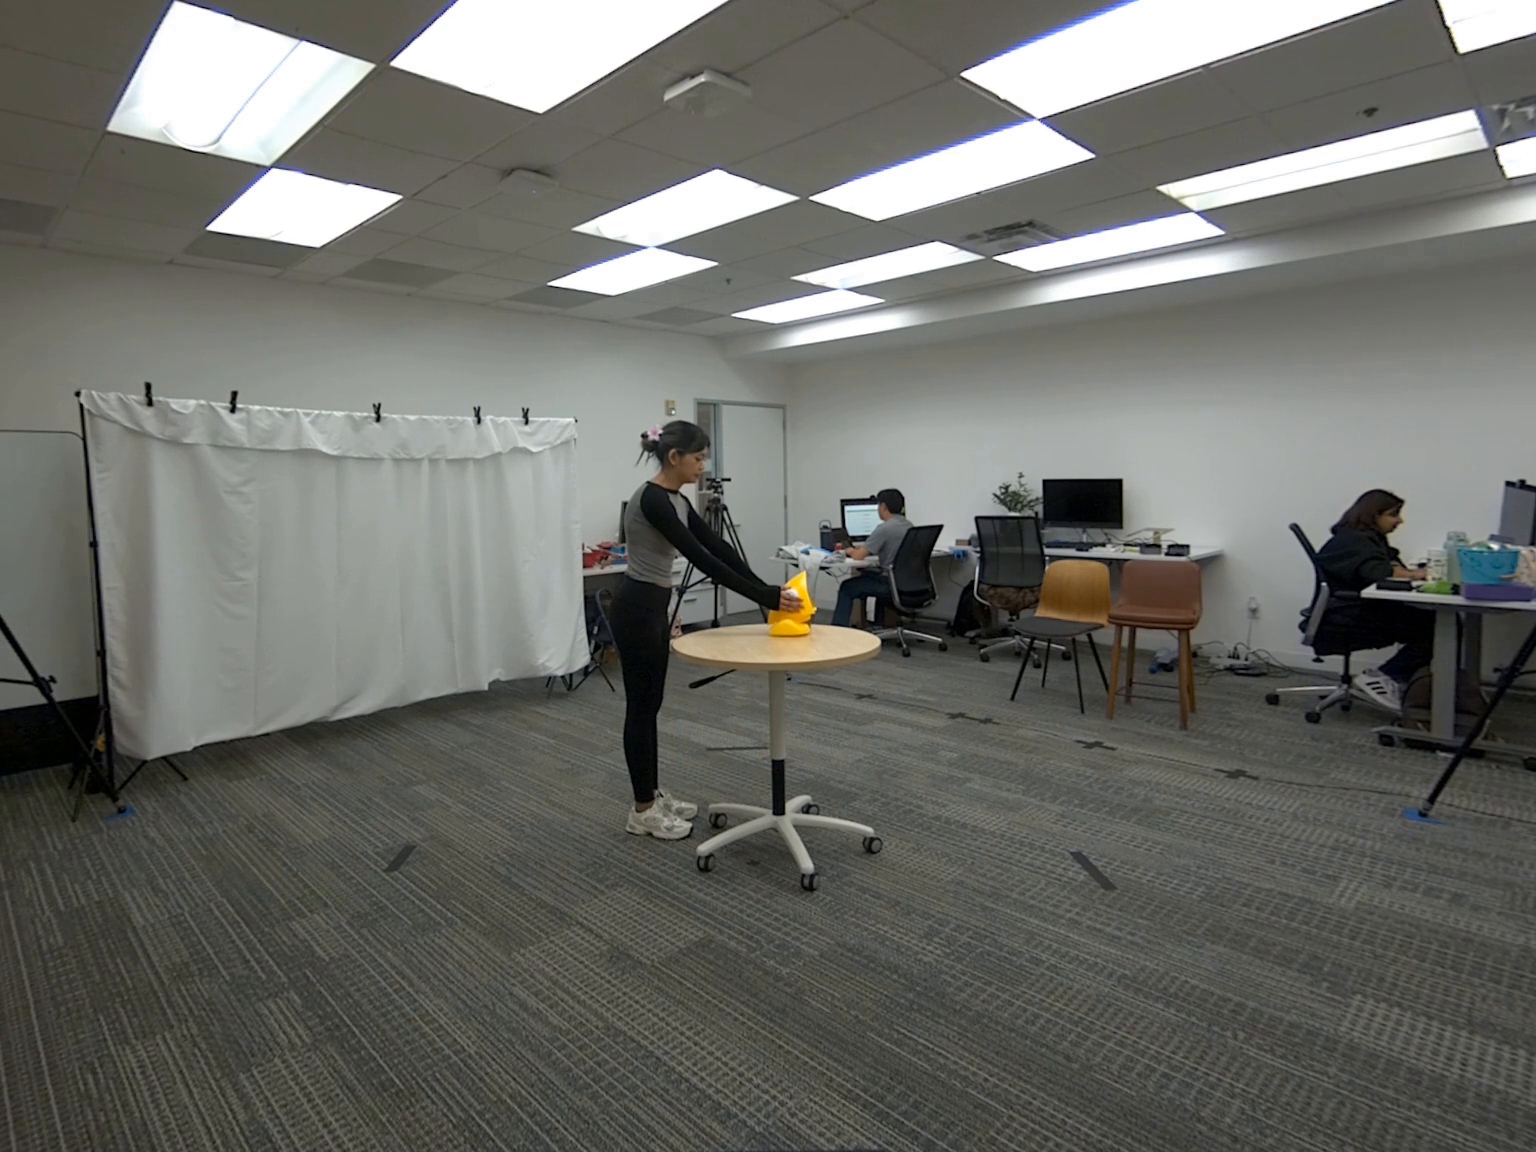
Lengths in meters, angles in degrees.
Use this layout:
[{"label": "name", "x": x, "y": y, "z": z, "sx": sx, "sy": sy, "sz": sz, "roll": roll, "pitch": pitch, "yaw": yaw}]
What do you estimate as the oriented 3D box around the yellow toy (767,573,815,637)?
[{"label": "yellow toy", "x": 0.091, "y": 0.096, "z": 3.309, "sx": 0.194, "sy": 0.230, "sz": 0.204, "roll": -2, "pitch": 2, "yaw": 4}]
